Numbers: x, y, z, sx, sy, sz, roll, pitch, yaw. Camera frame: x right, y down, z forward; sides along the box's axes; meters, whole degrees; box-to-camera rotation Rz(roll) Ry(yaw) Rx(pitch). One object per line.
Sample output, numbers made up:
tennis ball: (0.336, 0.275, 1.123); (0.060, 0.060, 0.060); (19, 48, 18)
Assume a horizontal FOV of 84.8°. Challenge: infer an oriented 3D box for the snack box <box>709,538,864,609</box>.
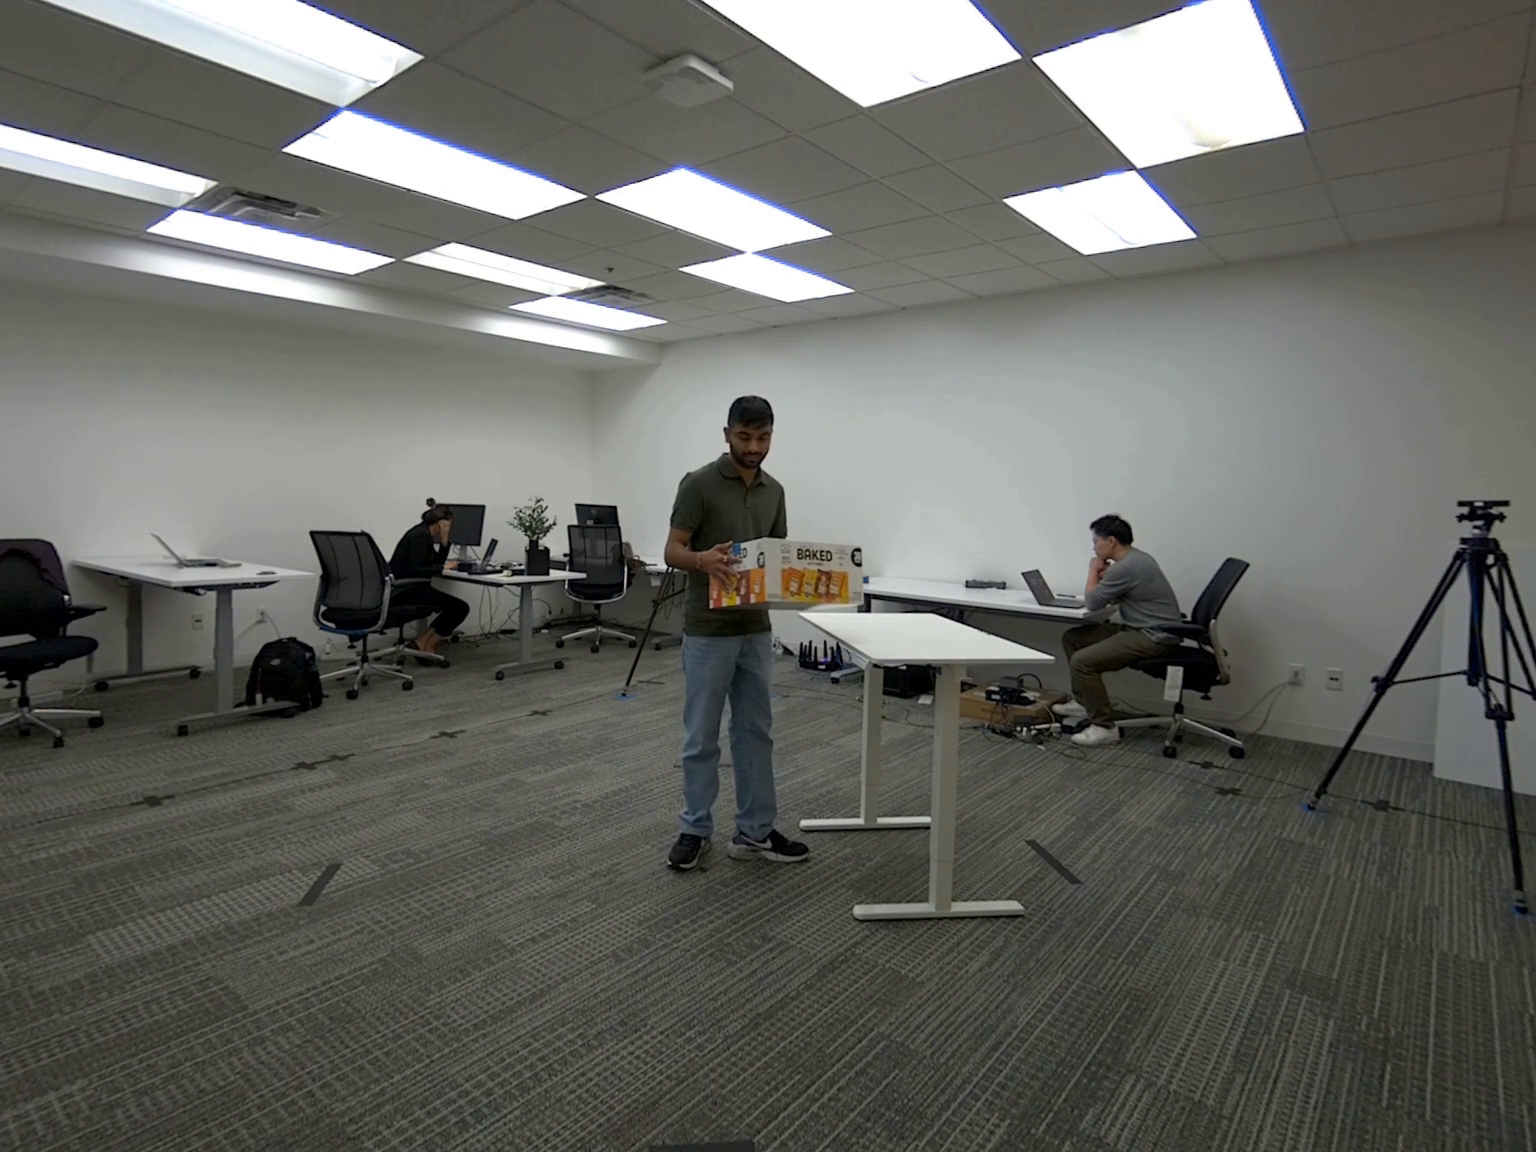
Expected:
snack box: (0.052, 0.000, 2.897); (0.393, 0.207, 0.348); (3, -7, -33)
